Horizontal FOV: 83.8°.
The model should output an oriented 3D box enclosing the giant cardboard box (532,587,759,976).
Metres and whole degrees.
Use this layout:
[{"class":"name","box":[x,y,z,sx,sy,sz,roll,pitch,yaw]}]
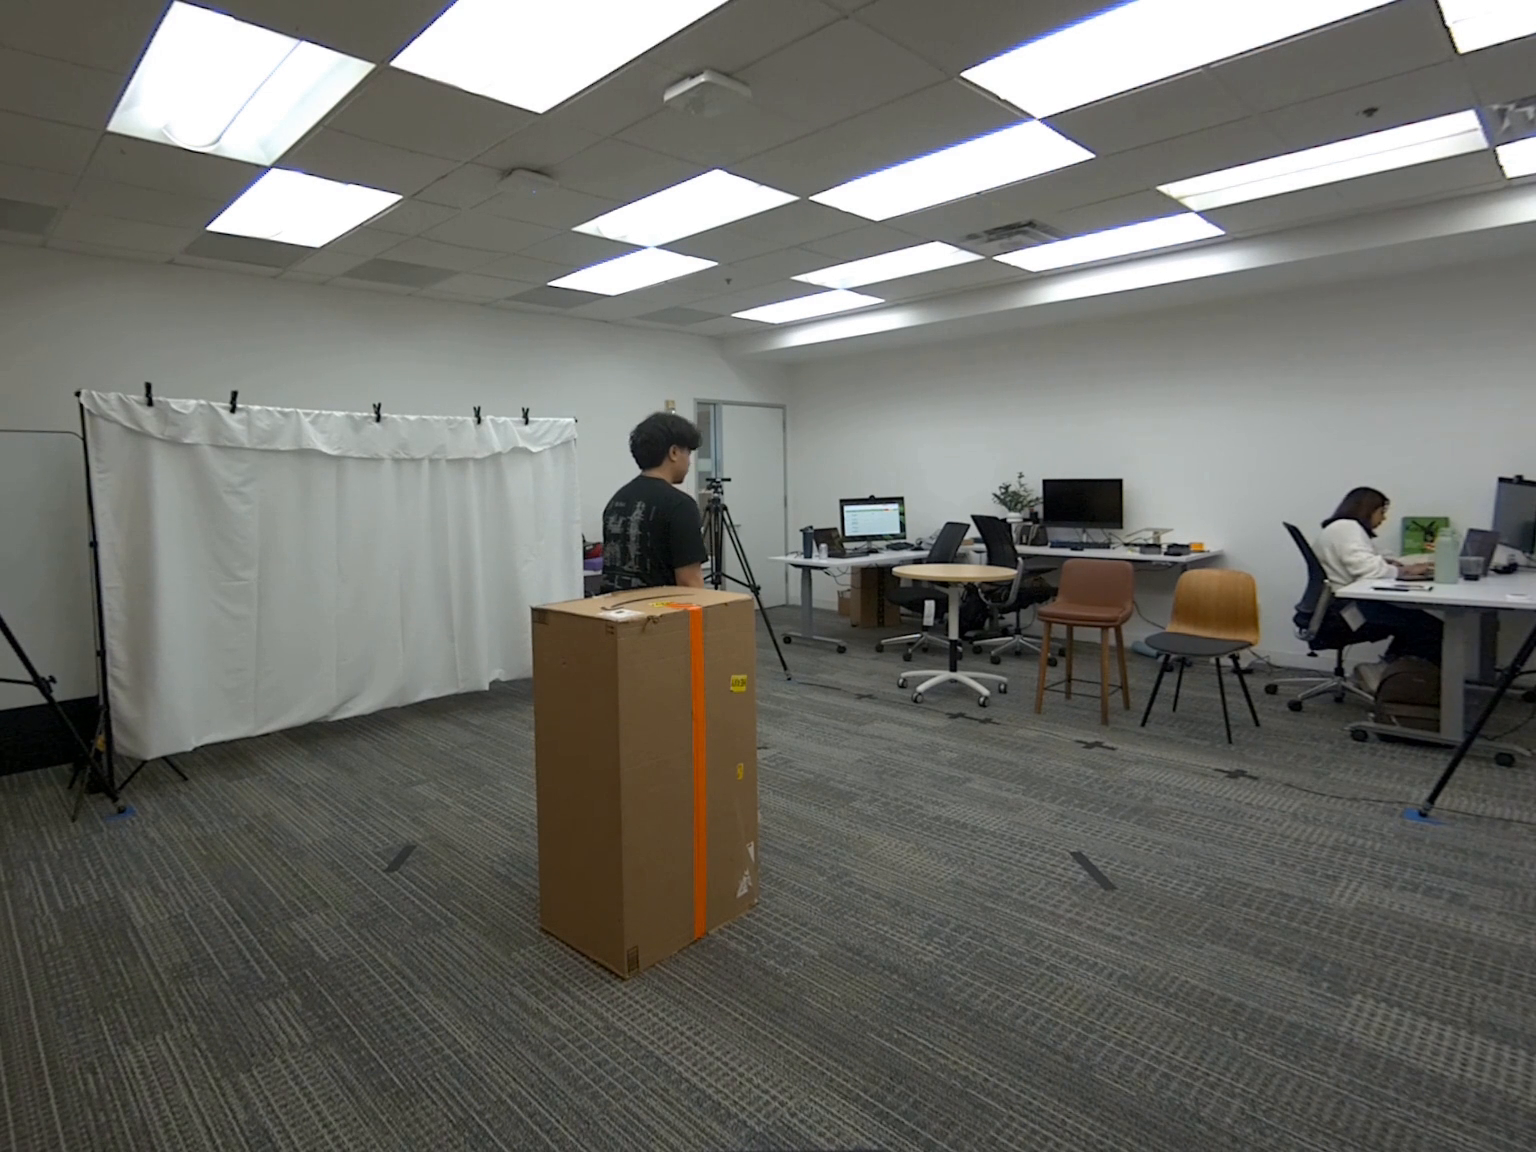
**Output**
[{"class":"giant cardboard box","box":[-0.377,0.586,2.707,0.461,1.022,0.569,4,7,43]}]
